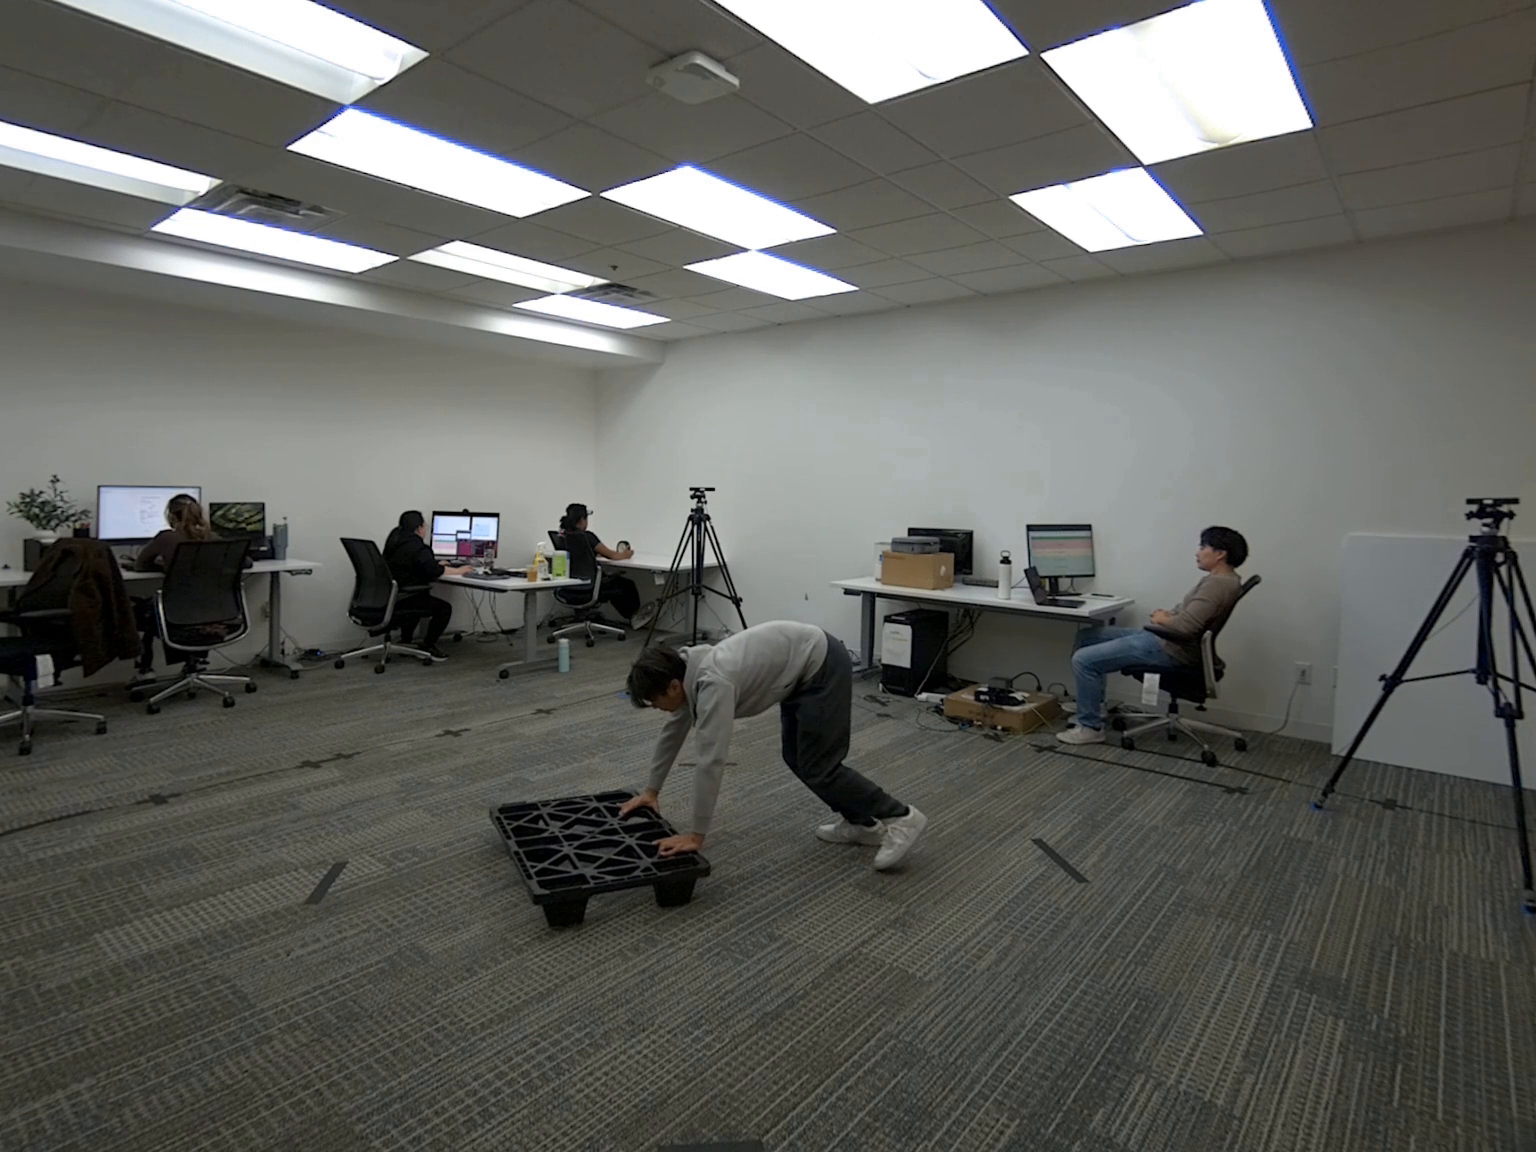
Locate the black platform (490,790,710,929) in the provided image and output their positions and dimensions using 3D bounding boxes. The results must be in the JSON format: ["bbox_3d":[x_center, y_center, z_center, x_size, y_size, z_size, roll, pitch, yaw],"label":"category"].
[{"bbox_3d":[-0.647,0.990,3.070,0.590,0.143,0.828,-2,6,-27],"label":"black platform"}]
